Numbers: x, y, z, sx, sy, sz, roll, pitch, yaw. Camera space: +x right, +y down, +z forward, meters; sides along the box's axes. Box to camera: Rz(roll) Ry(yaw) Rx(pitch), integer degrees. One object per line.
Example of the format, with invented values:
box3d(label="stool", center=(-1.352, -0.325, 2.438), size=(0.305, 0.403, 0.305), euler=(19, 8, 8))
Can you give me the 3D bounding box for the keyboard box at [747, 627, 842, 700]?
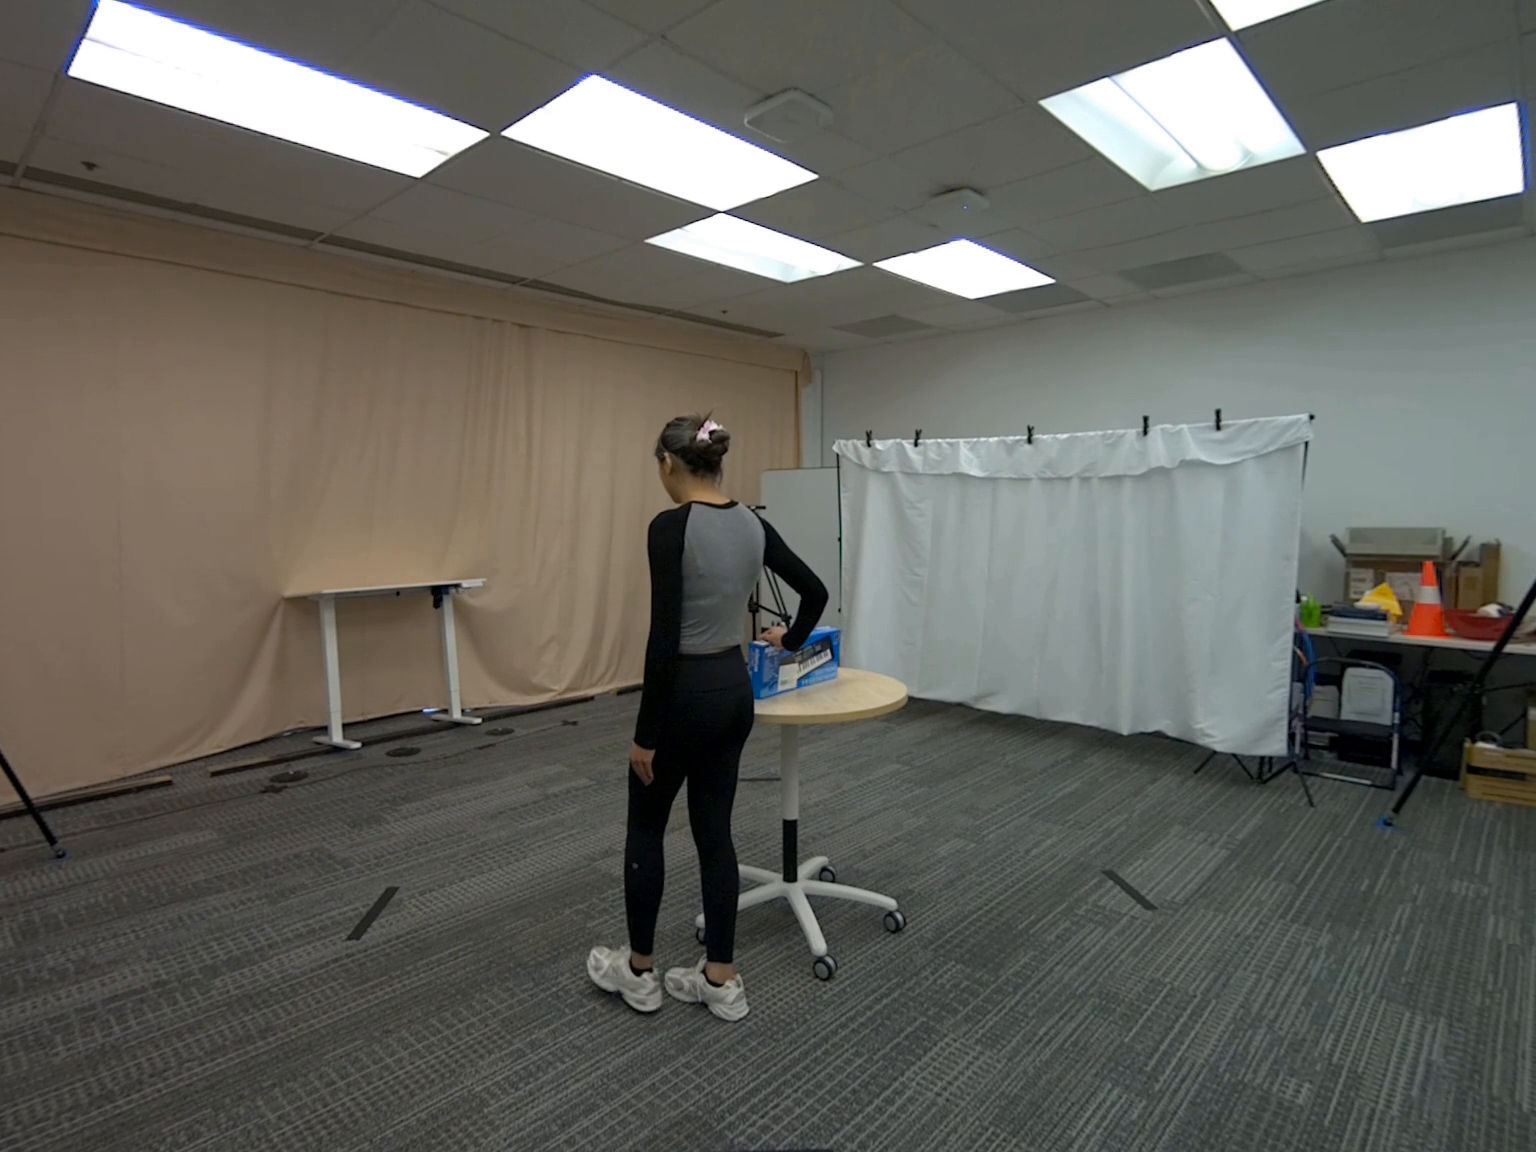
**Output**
box3d(label="keyboard box", center=(0.094, 0.282, 2.768), size=(0.061, 0.175, 0.424), euler=(9, 10, 39))
